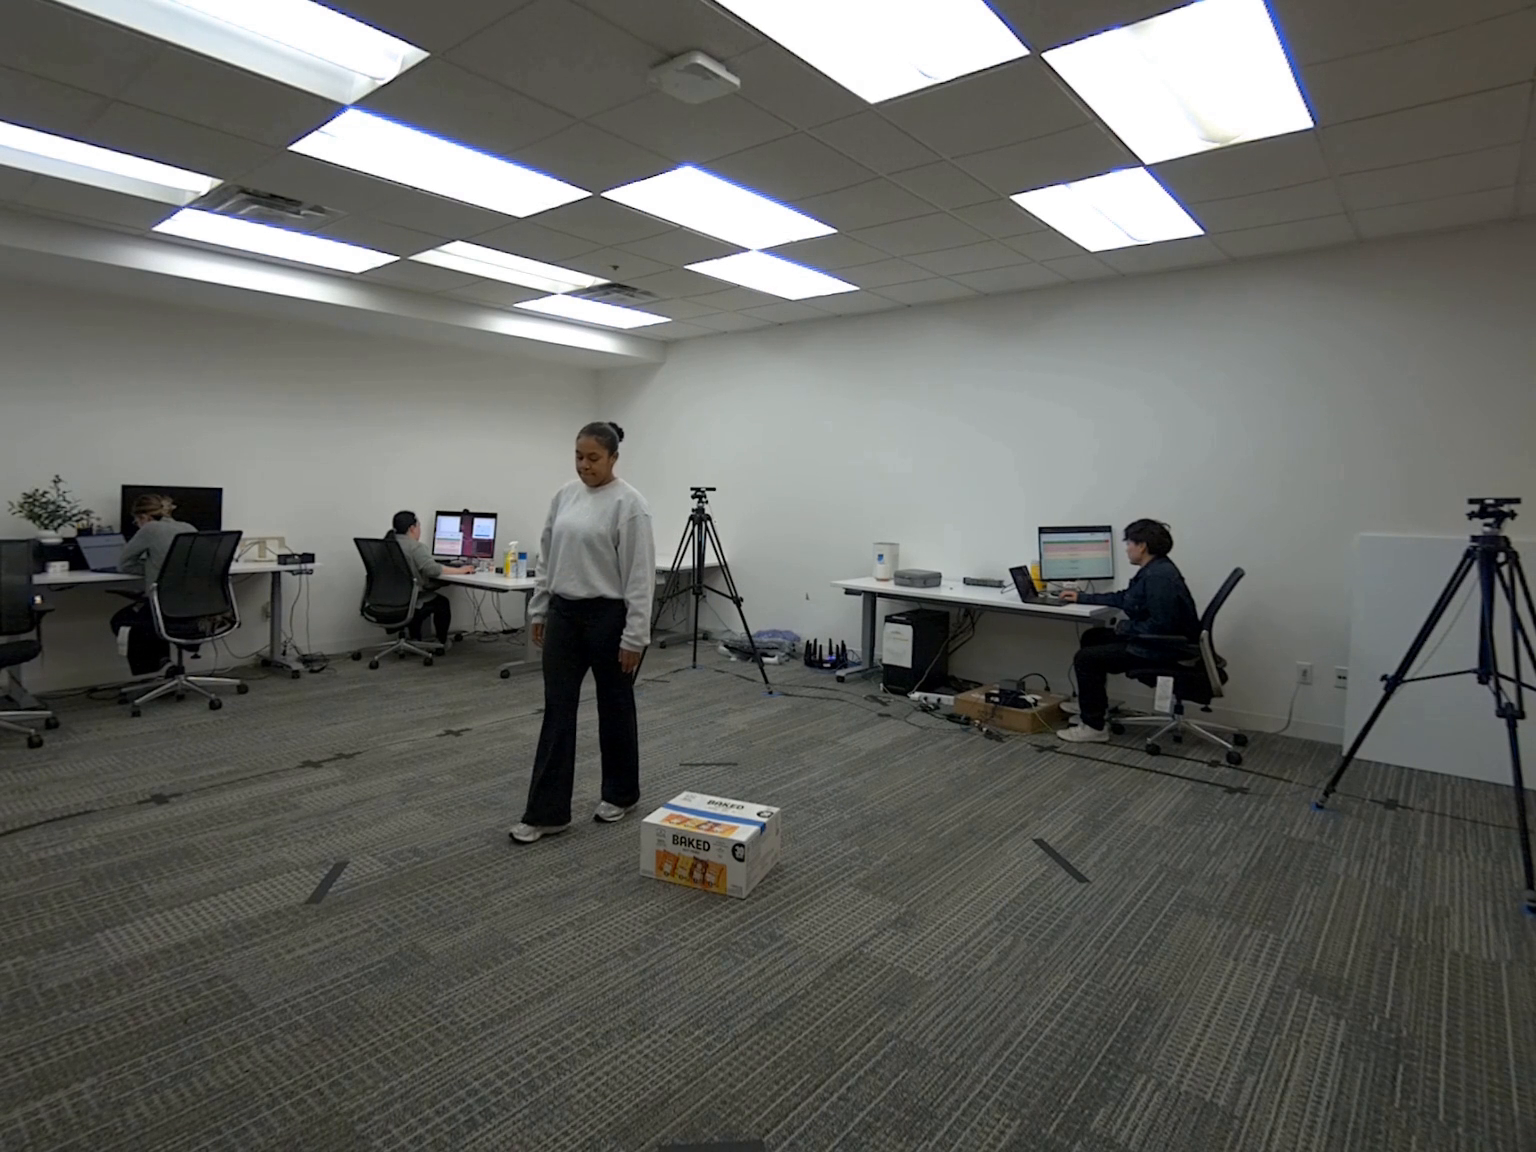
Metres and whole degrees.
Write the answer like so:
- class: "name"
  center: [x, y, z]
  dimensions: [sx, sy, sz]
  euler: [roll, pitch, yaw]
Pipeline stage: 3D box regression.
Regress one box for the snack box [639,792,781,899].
- class: "snack box"
  center: [-0.215, 0.965, 3.098]
  dimensions: [0.415, 0.205, 0.333]
  euler: [3, 5, 23]
